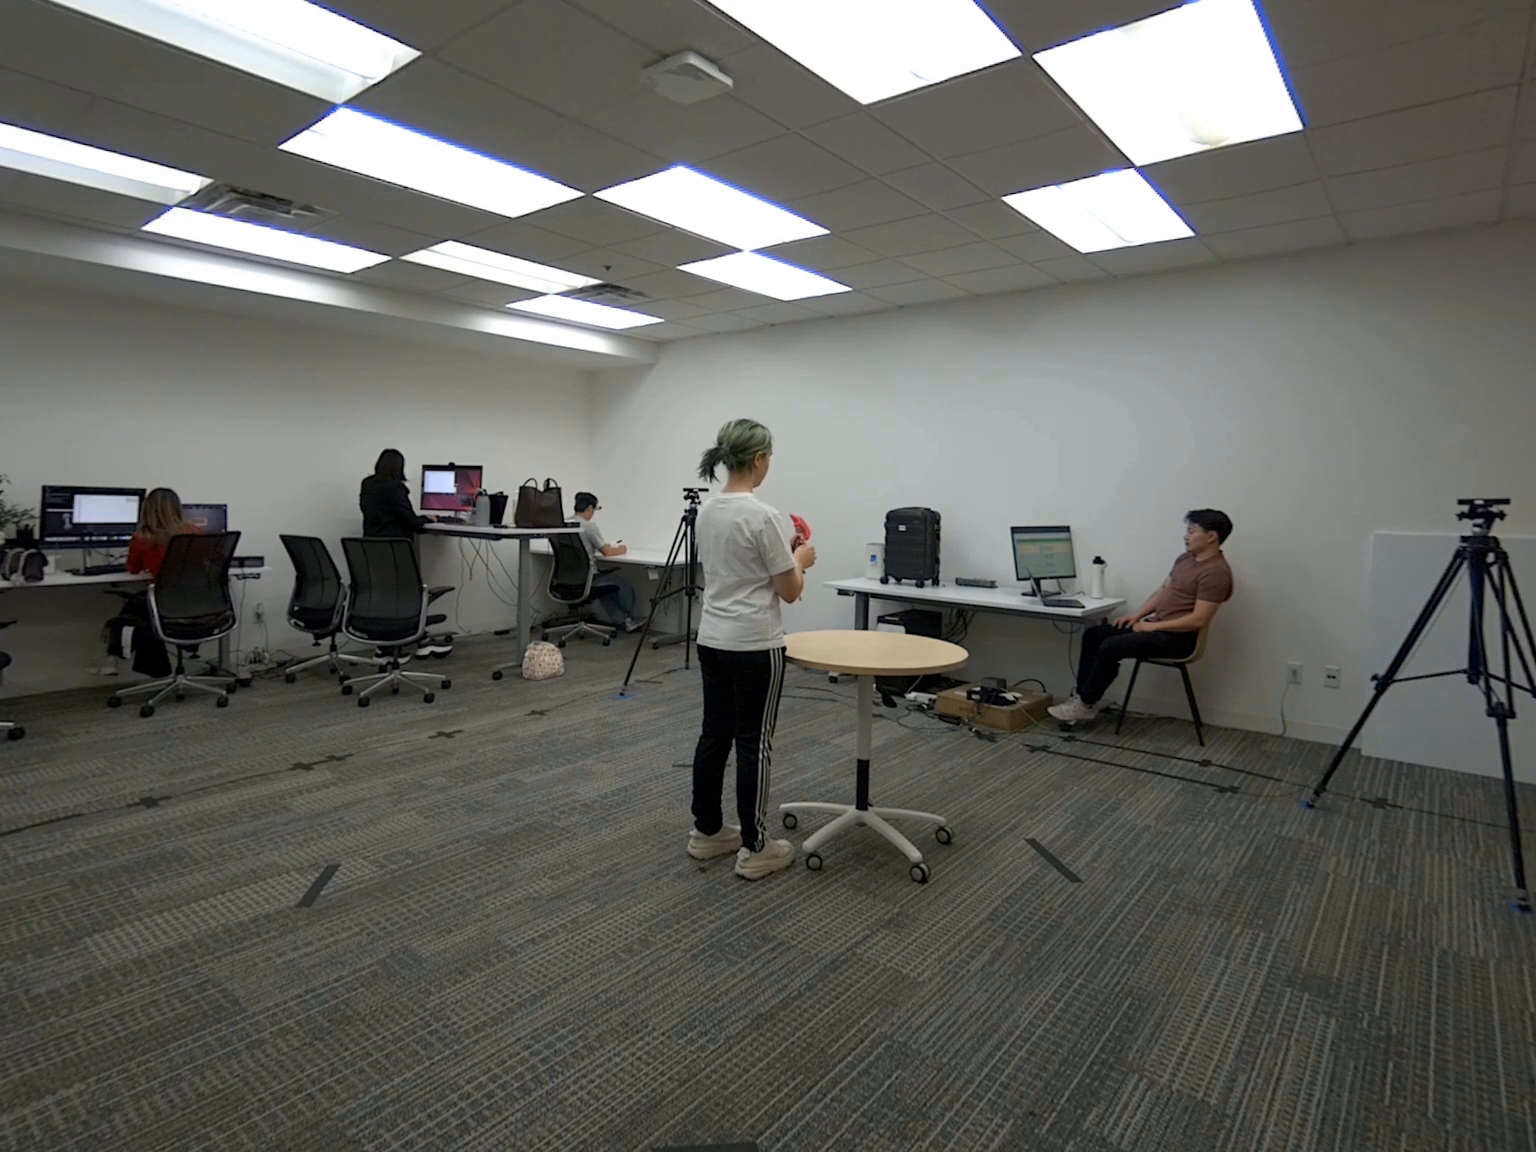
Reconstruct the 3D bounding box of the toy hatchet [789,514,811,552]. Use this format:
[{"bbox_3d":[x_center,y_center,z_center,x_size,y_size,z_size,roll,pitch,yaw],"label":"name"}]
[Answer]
[{"bbox_3d":[0.129,-0.120,3.403,0.030,0.277,0.126,-23,-35,34],"label":"toy hatchet"}]
